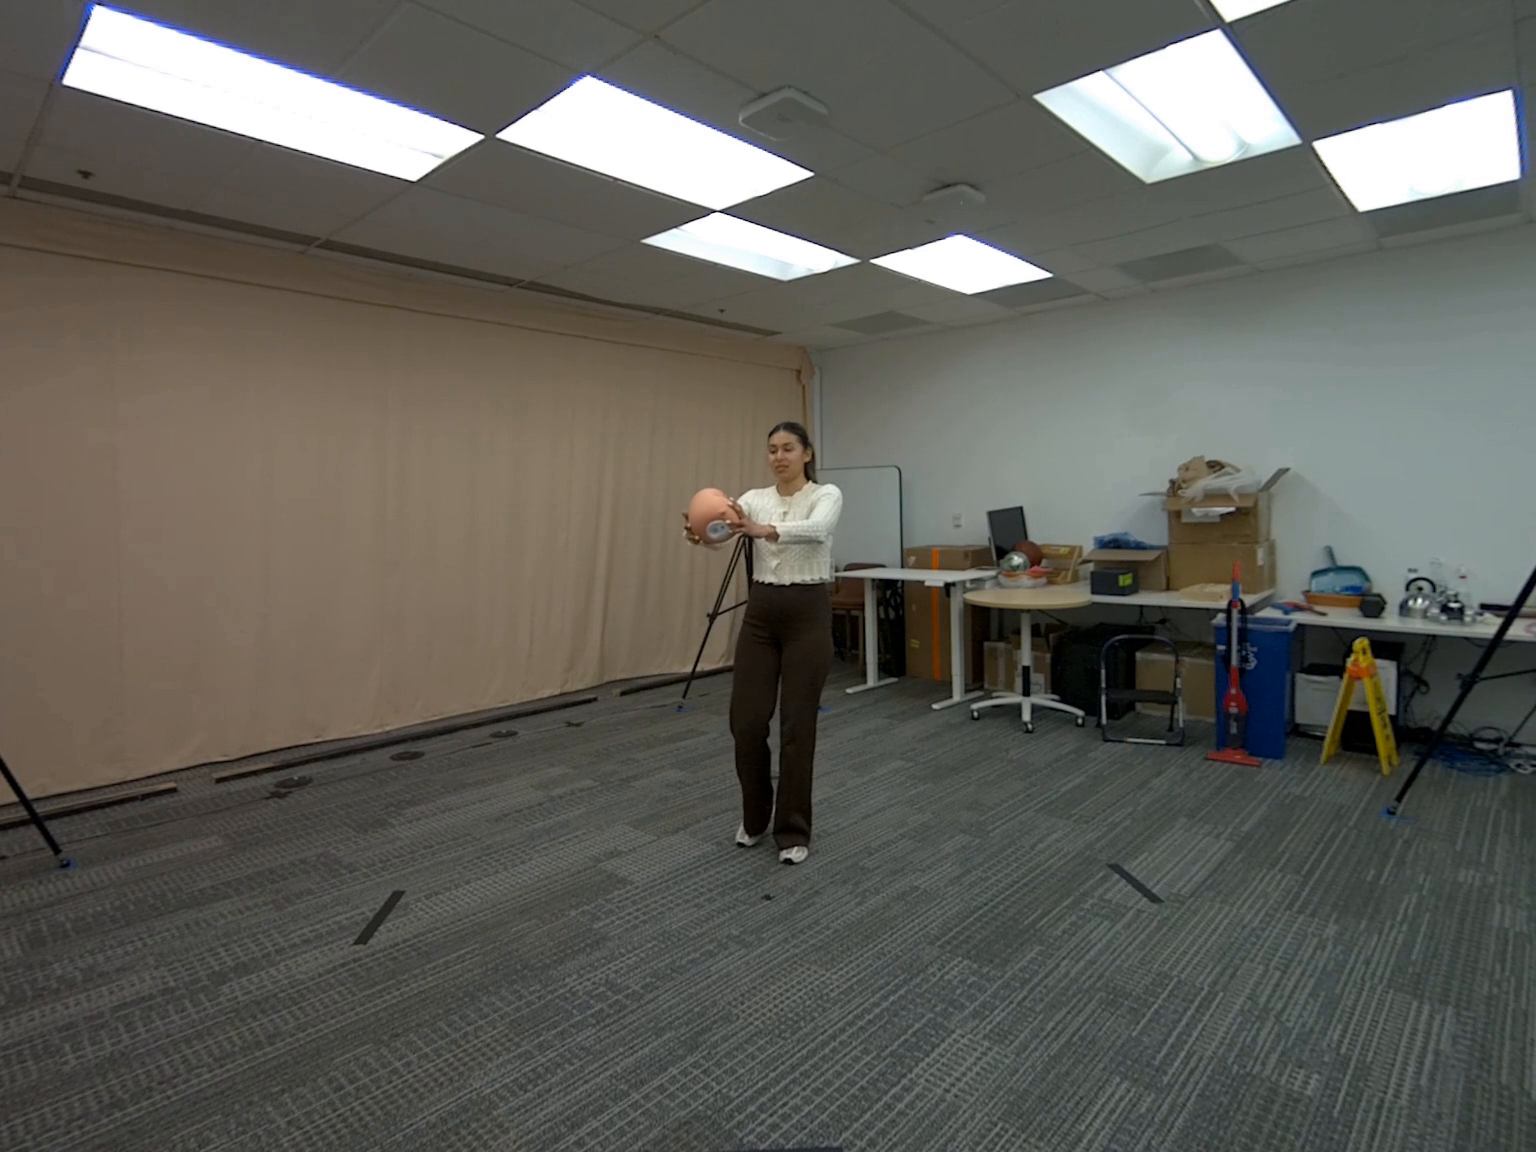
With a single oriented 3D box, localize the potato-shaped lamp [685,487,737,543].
[{"bbox_3d":[-0.179,-0.208,2.864,0.173,0.202,0.159,-26,-49,18],"label":"potato-shaped lamp"}]
